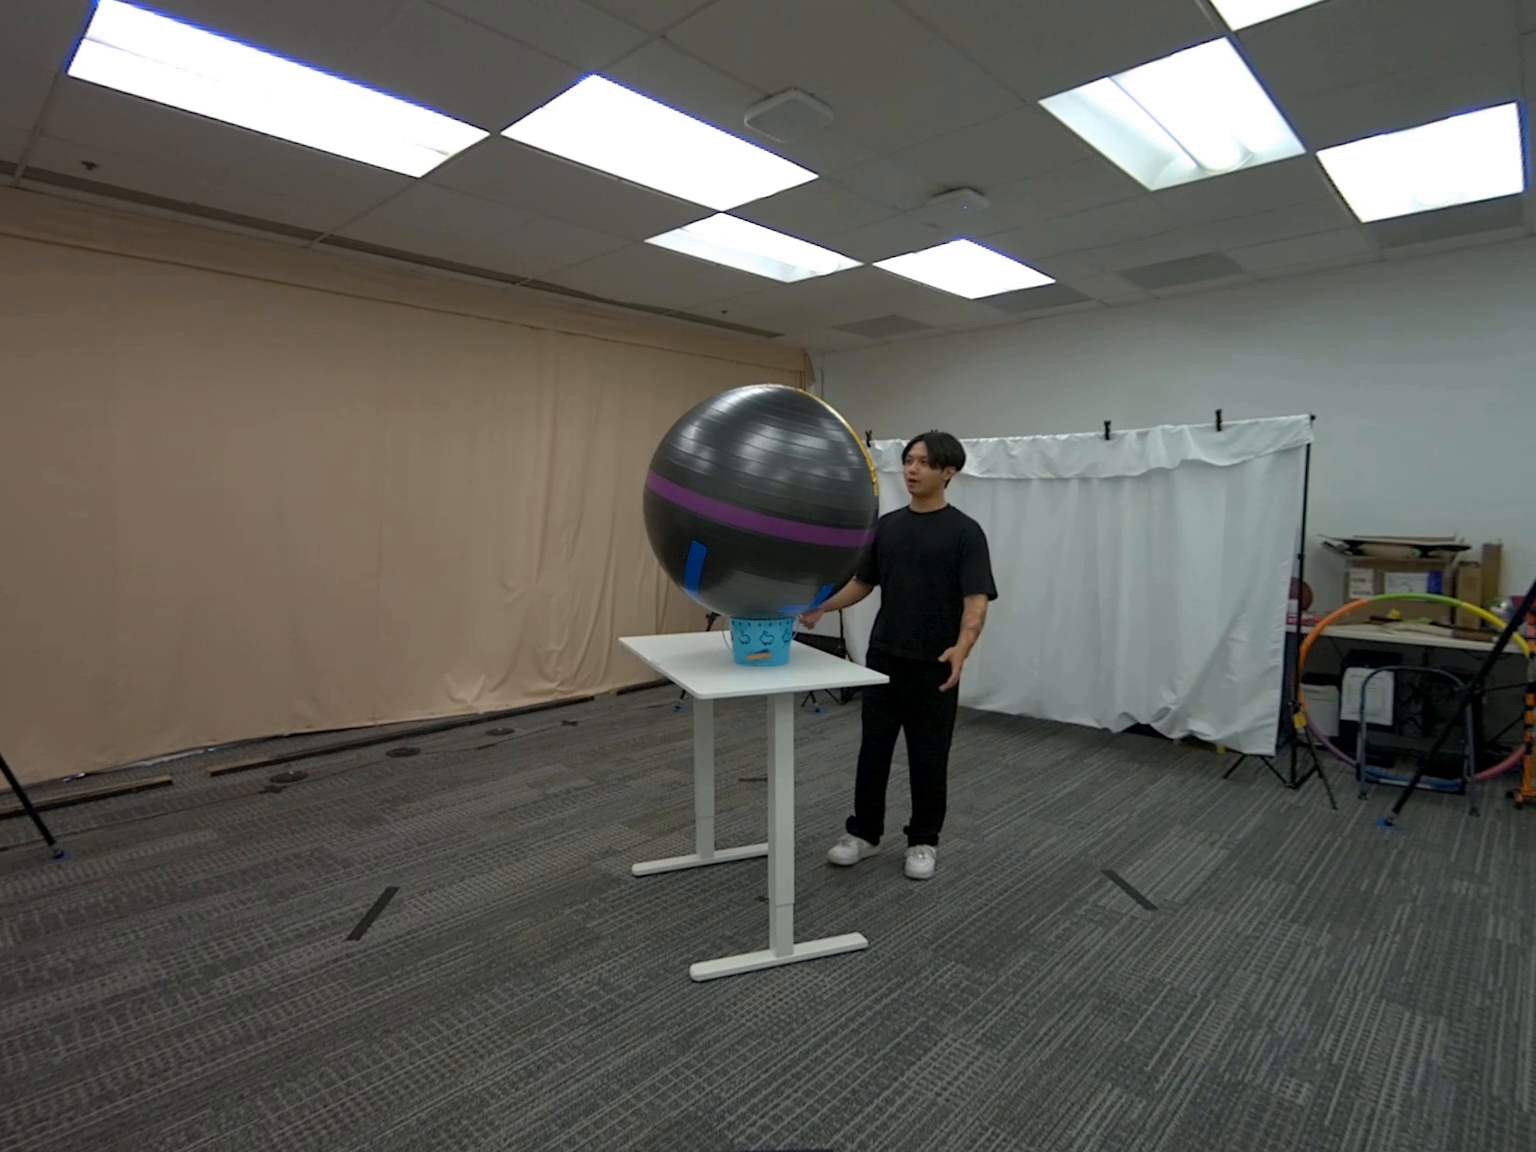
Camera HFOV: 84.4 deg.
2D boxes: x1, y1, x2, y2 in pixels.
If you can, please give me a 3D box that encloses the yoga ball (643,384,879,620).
[{"bbox_3d":[-0.018,-0.233,2.740,0.757,0.756,0.760,0,4,-2],"label":"yoga ball"}]
